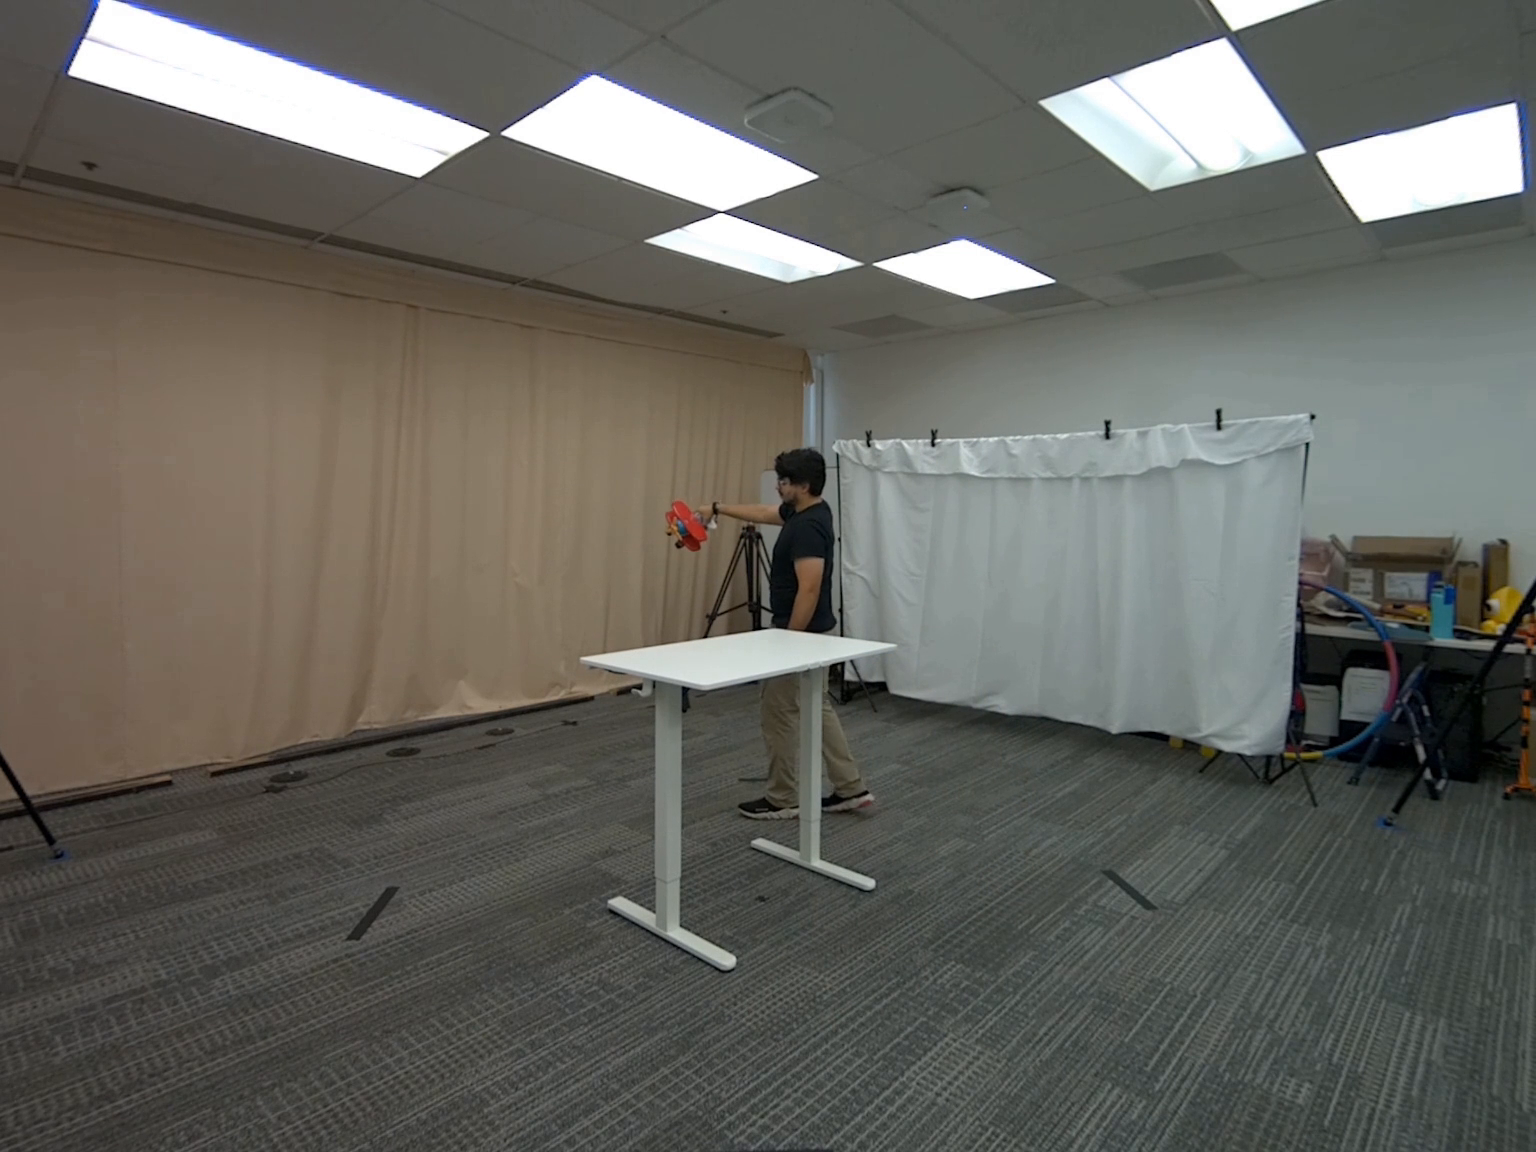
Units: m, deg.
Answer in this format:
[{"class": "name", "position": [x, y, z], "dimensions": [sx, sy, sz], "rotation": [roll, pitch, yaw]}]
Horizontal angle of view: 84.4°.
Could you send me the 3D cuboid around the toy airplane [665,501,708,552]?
[{"class": "toy airplane", "position": [-0.384, -0.258, 4.163], "dimensions": [0.252, 0.259, 0.156], "rotation": [29, -35, 1]}]
